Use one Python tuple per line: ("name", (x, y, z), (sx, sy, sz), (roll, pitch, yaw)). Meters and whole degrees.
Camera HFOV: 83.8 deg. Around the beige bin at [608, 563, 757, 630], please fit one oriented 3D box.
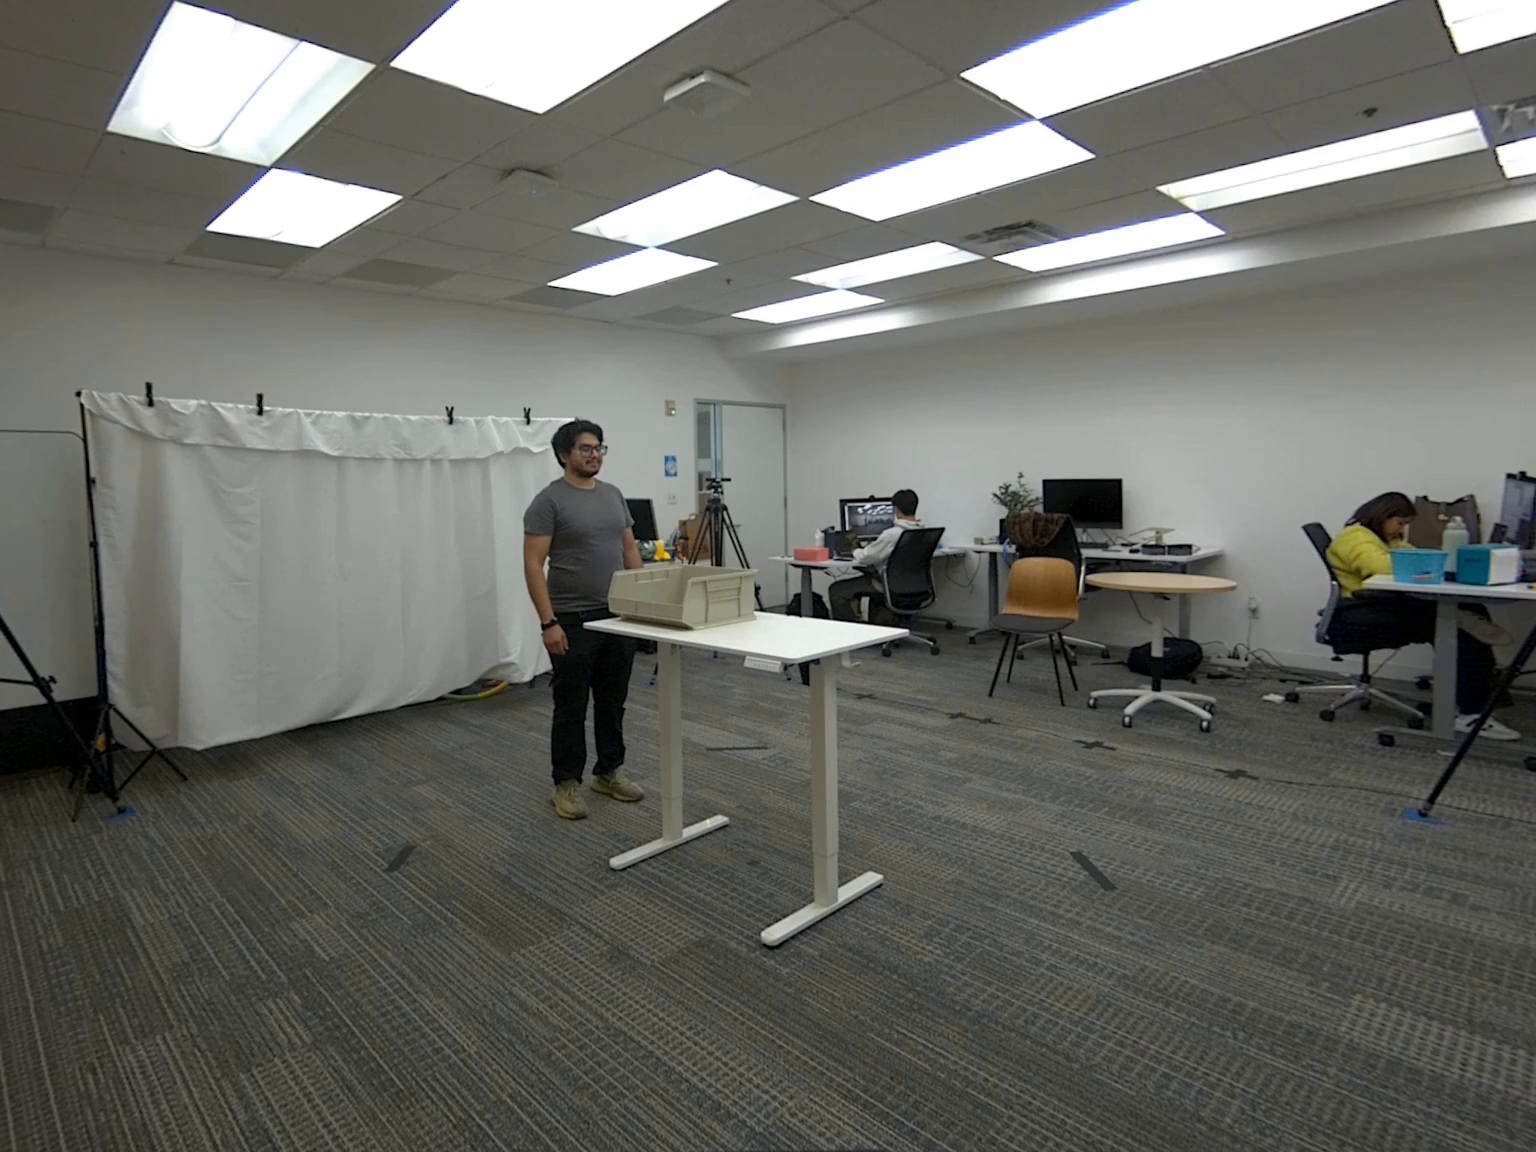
("beige bin", (-0.309, 0.073, 3.133), (0.435, 0.188, 0.367), (4, 7, 45))
